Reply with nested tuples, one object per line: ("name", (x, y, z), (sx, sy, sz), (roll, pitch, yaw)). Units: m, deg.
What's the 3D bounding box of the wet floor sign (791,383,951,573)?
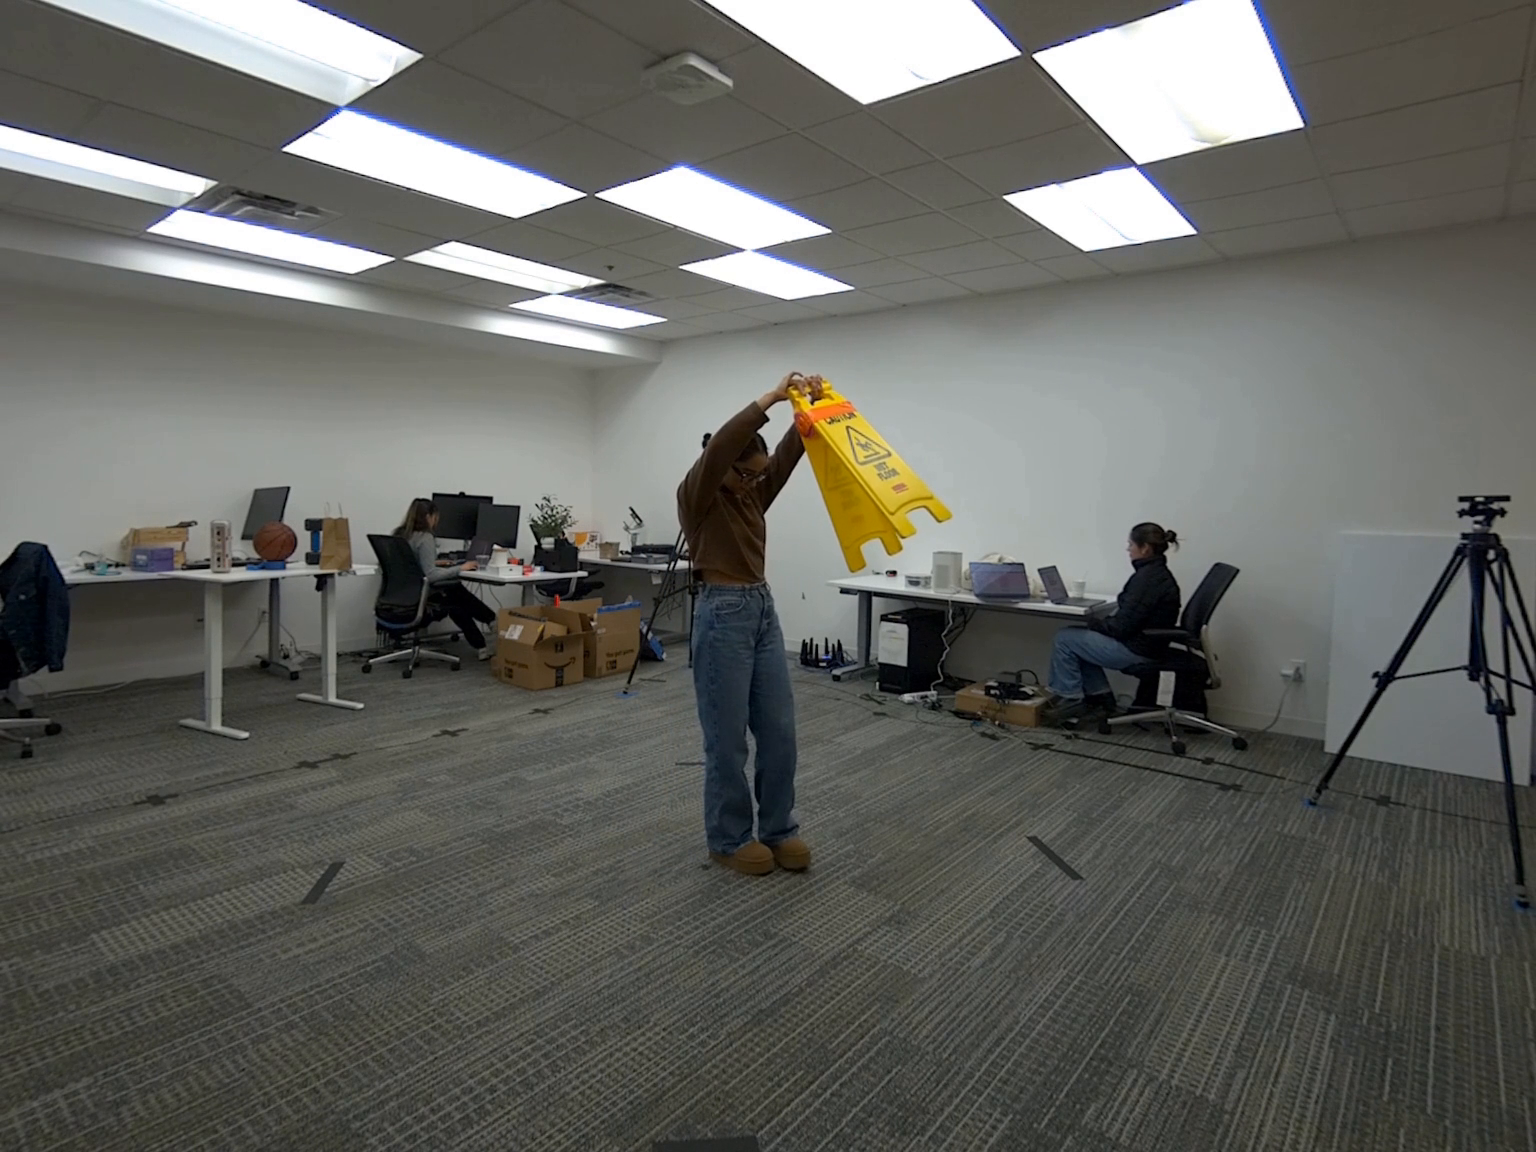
("wet floor sign", (0.284, -0.384, 2.868), (0.277, 0.655, 0.291), (-20, -13, -40))
